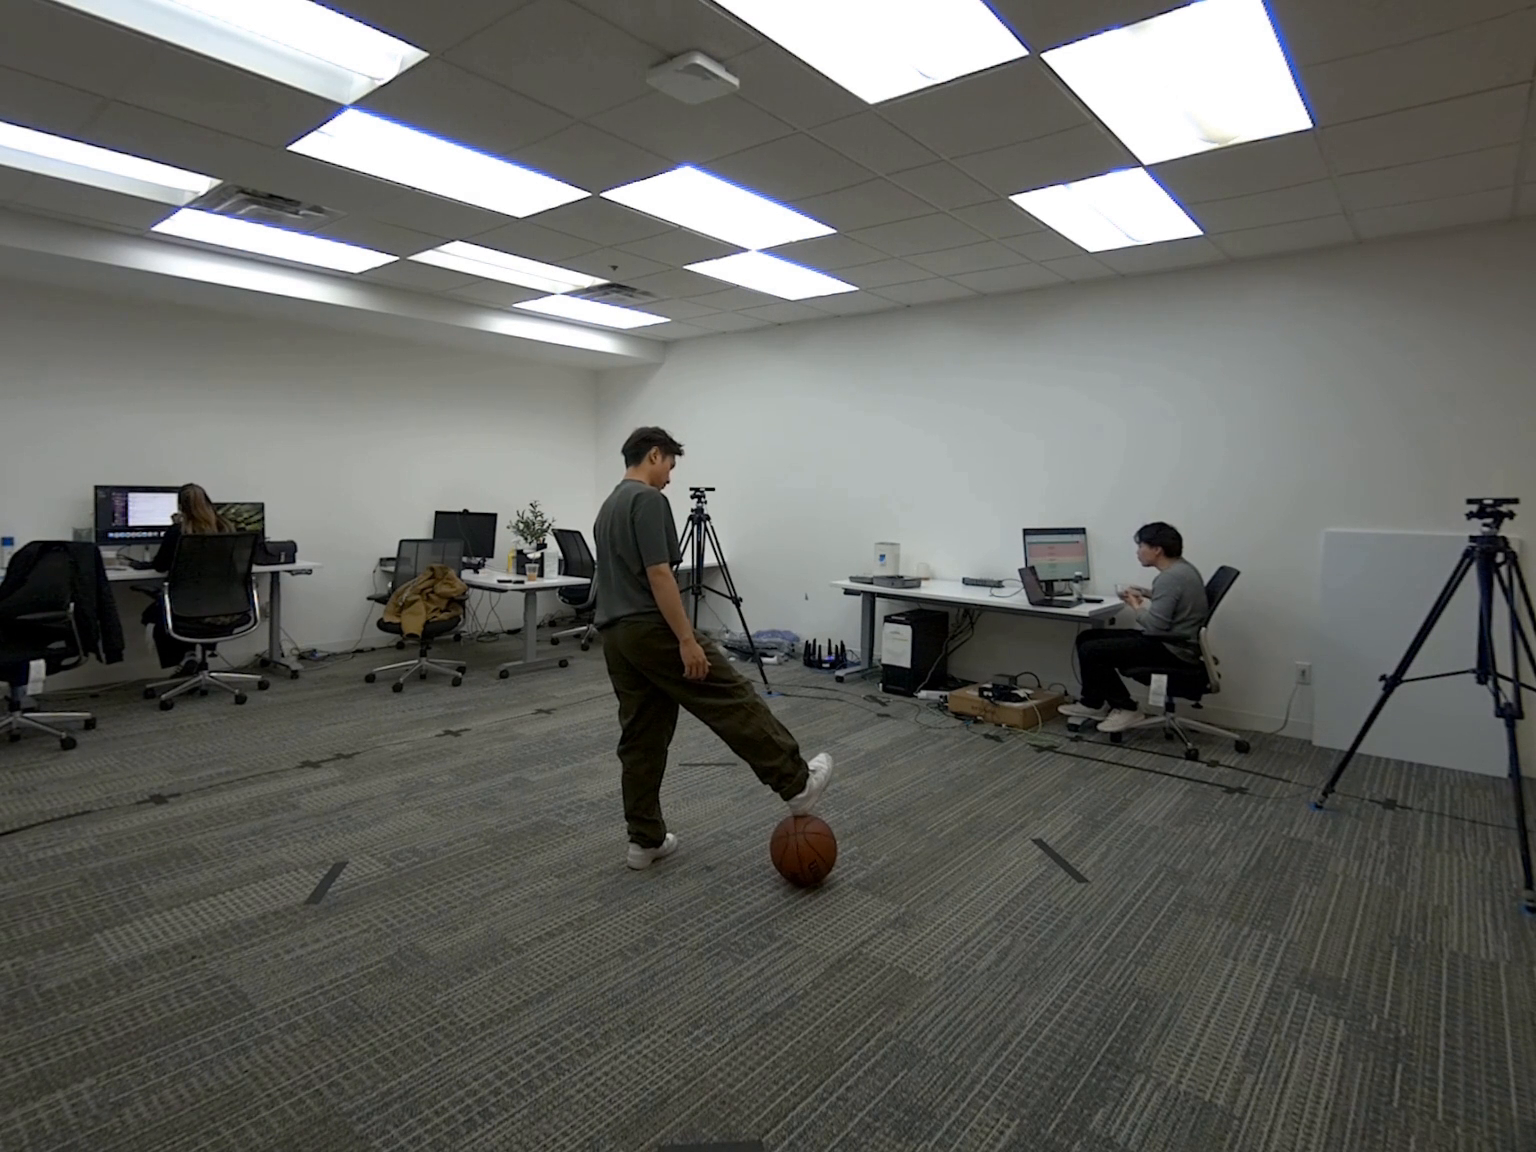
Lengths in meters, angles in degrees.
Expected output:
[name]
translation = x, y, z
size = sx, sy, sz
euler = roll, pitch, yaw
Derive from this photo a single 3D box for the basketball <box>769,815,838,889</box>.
[basketball]
translation = 0.116, 0.963, 3.014
size = 0.235, 0.235, 0.237
euler = 1, 4, -2
